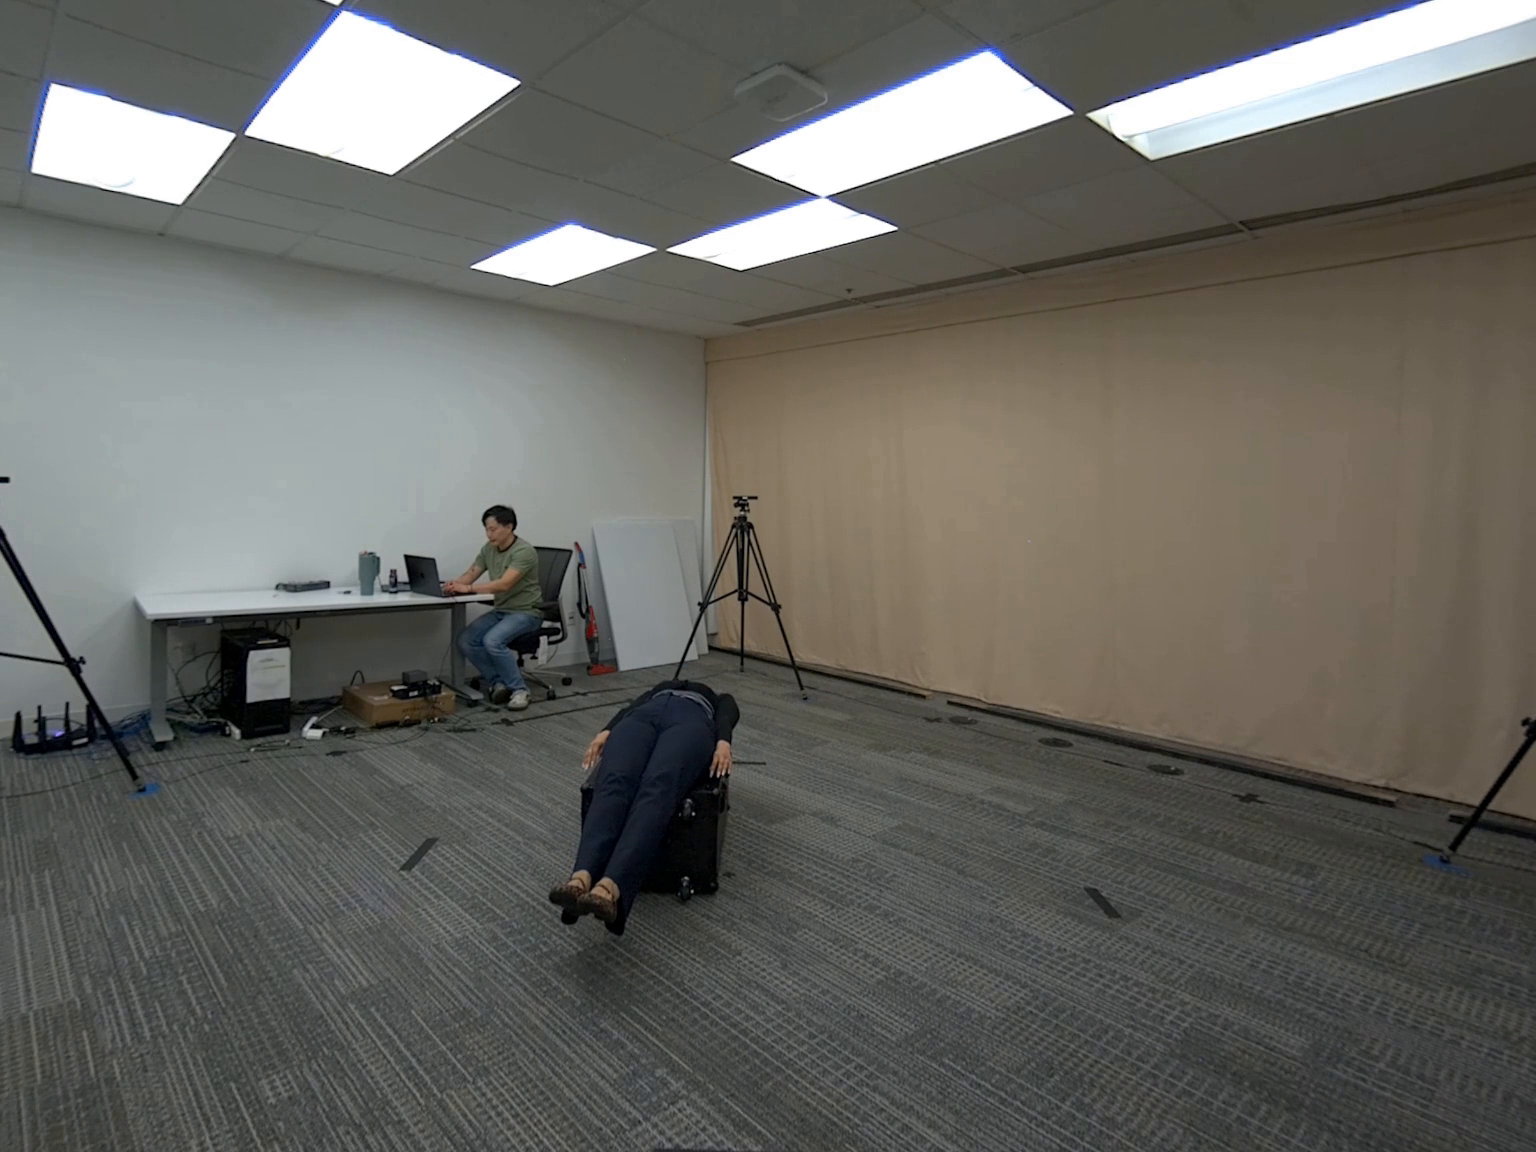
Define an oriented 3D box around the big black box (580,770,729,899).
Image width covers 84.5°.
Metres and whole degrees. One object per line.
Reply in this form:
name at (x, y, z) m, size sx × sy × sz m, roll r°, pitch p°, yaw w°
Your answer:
big black box at (-0.420, 0.886, 3.272) m, size 0.522 × 0.395 × 0.862 m, roll 2°, pitch 4°, yaw 0°
